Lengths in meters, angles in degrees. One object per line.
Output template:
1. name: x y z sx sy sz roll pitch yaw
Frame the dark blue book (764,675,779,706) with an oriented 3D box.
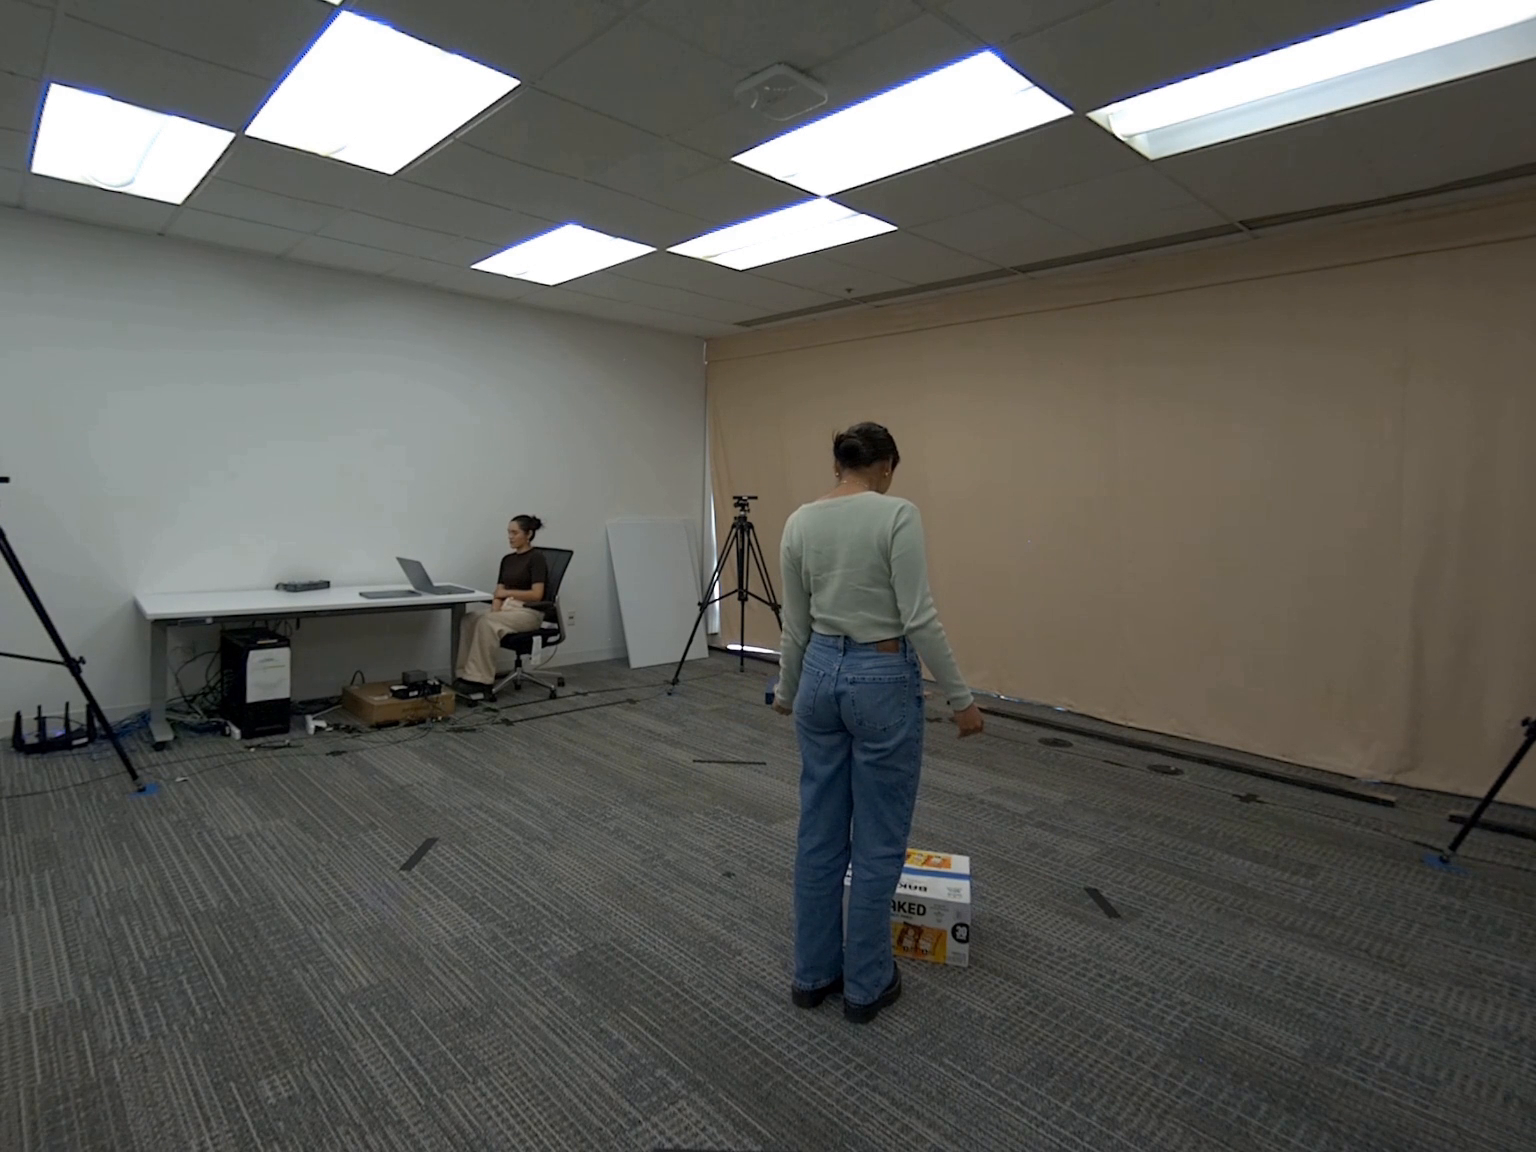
1. dark blue book: 0.130 0.374 2.628 0.247 0.045 0.163 0 12 10
